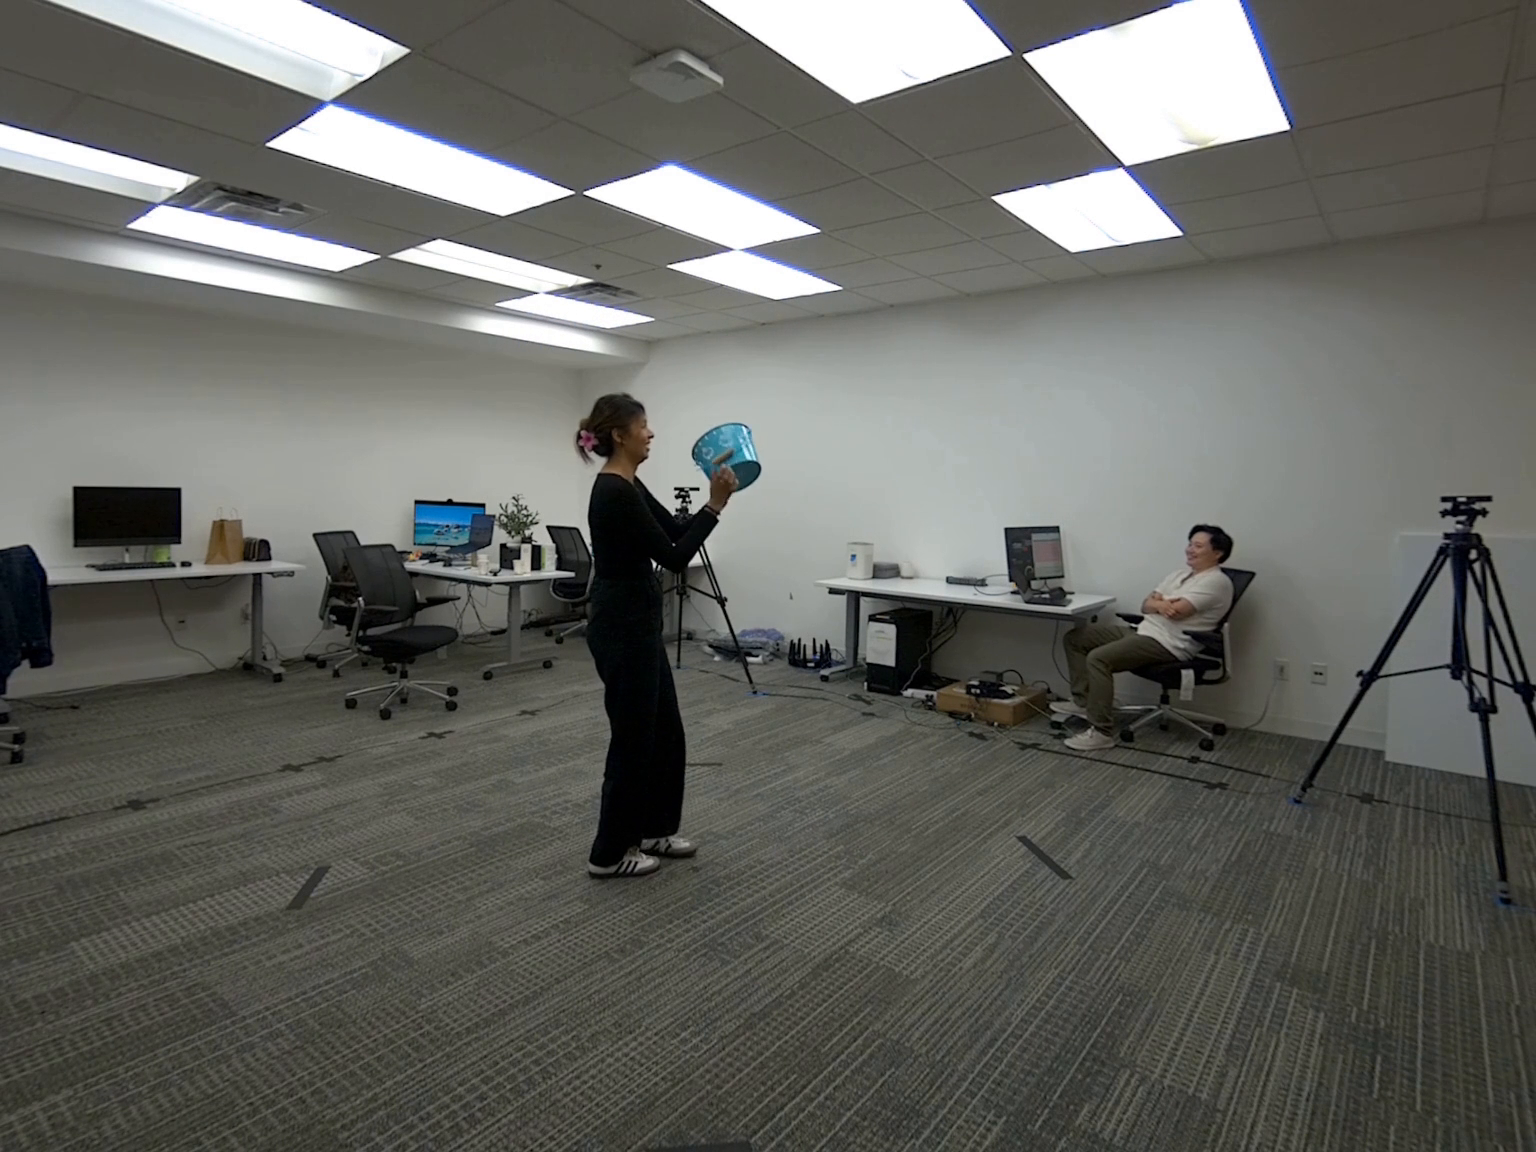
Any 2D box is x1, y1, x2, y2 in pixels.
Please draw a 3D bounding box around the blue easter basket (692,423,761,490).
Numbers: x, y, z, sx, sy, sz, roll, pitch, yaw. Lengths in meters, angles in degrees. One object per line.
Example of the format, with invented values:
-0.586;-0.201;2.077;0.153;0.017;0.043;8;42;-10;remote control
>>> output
-0.155;-0.393;2.986;0.241;0.161;0.238;-20;-27;-13;blue easter basket
